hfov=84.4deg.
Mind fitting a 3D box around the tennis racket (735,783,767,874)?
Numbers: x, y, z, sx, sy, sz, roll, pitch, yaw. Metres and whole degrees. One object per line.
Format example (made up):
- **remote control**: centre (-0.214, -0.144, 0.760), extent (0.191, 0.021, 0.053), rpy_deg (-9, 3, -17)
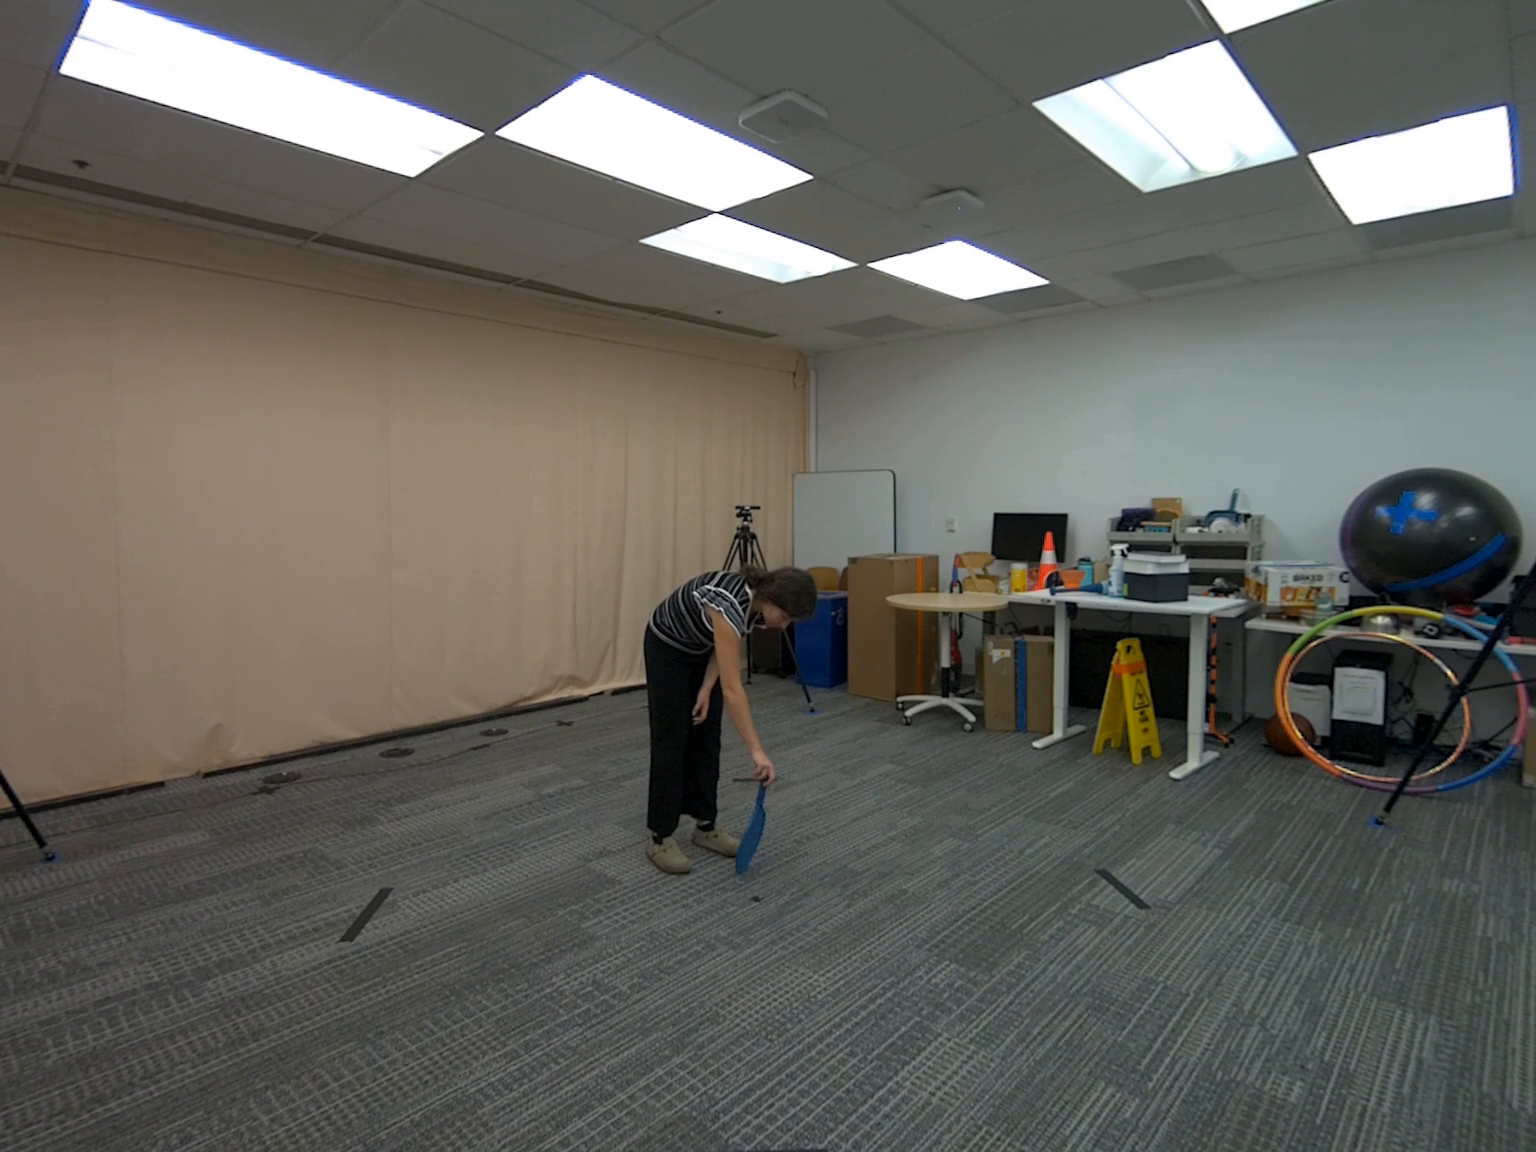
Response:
- **tennis racket**: centre (-0.054, 0.922, 3.155), extent (0.032, 0.430, 0.212), rpy_deg (16, 19, 12)
